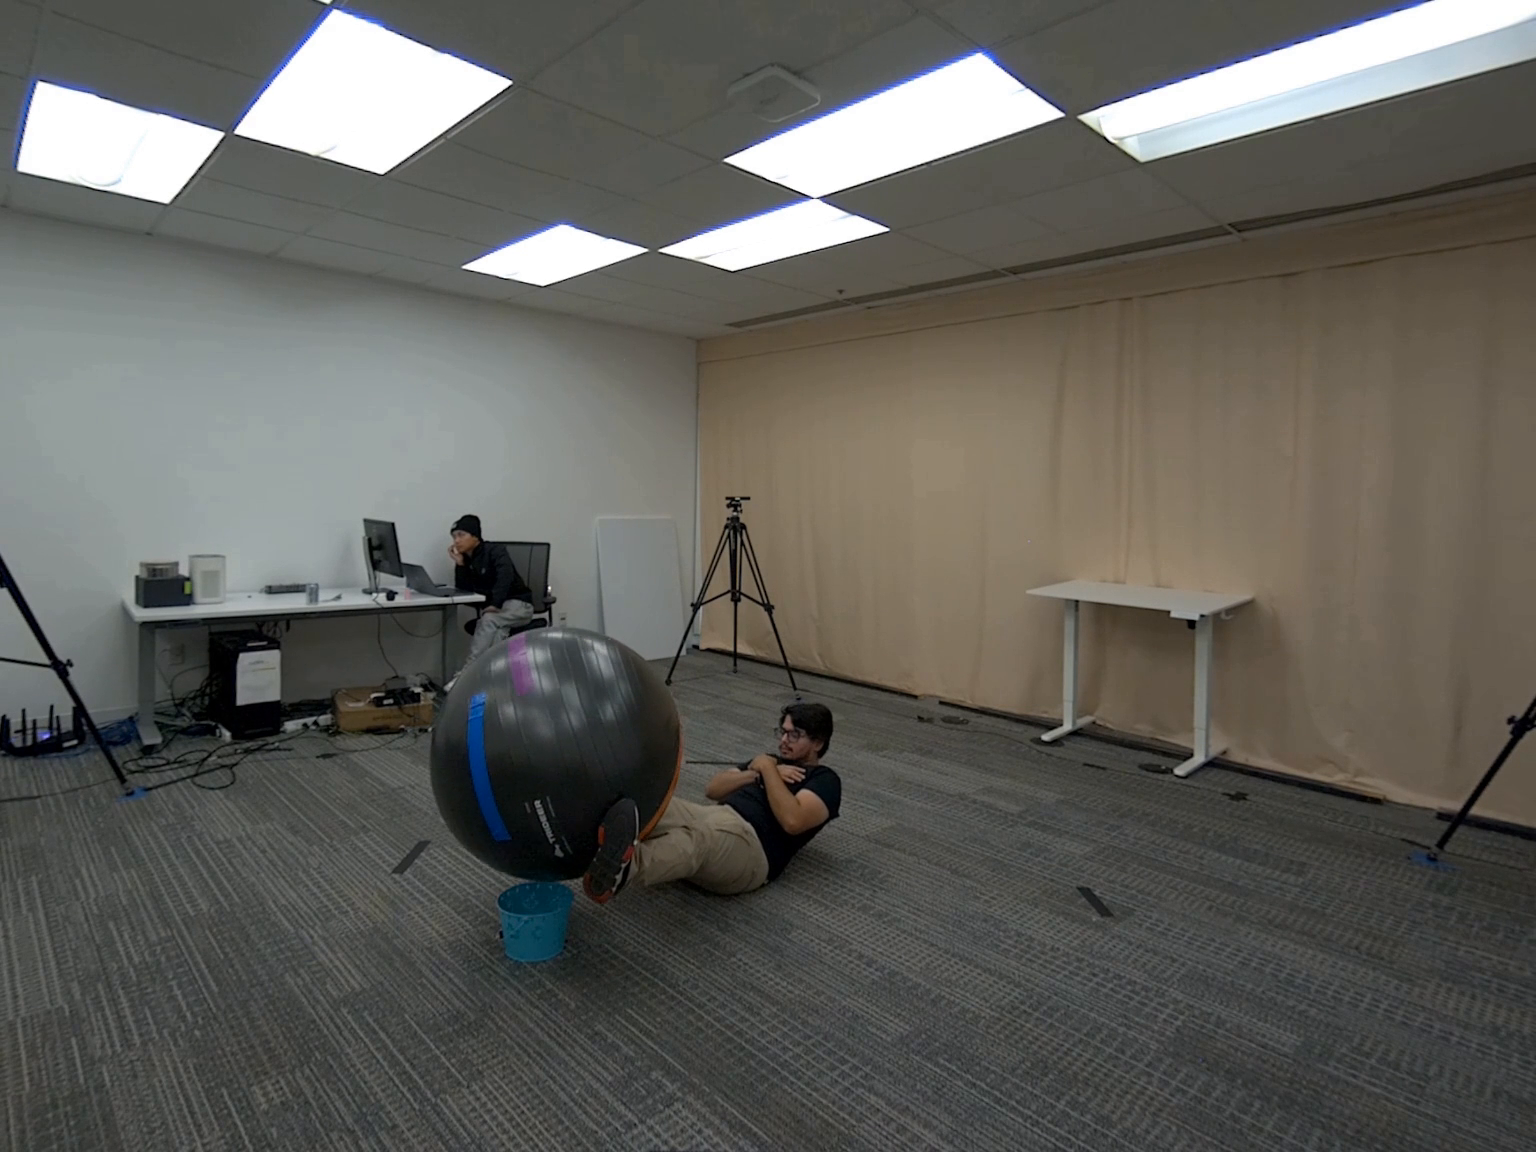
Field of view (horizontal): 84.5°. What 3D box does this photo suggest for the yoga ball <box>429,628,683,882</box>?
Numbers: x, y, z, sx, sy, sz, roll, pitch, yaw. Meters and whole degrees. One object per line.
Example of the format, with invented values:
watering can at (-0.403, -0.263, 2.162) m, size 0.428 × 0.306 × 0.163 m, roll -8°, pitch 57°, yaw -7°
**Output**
yoga ball at (-0.652, 0.539, 2.602) m, size 0.757 × 0.756 × 0.761 m, roll 1°, pitch 4°, yaw -1°
